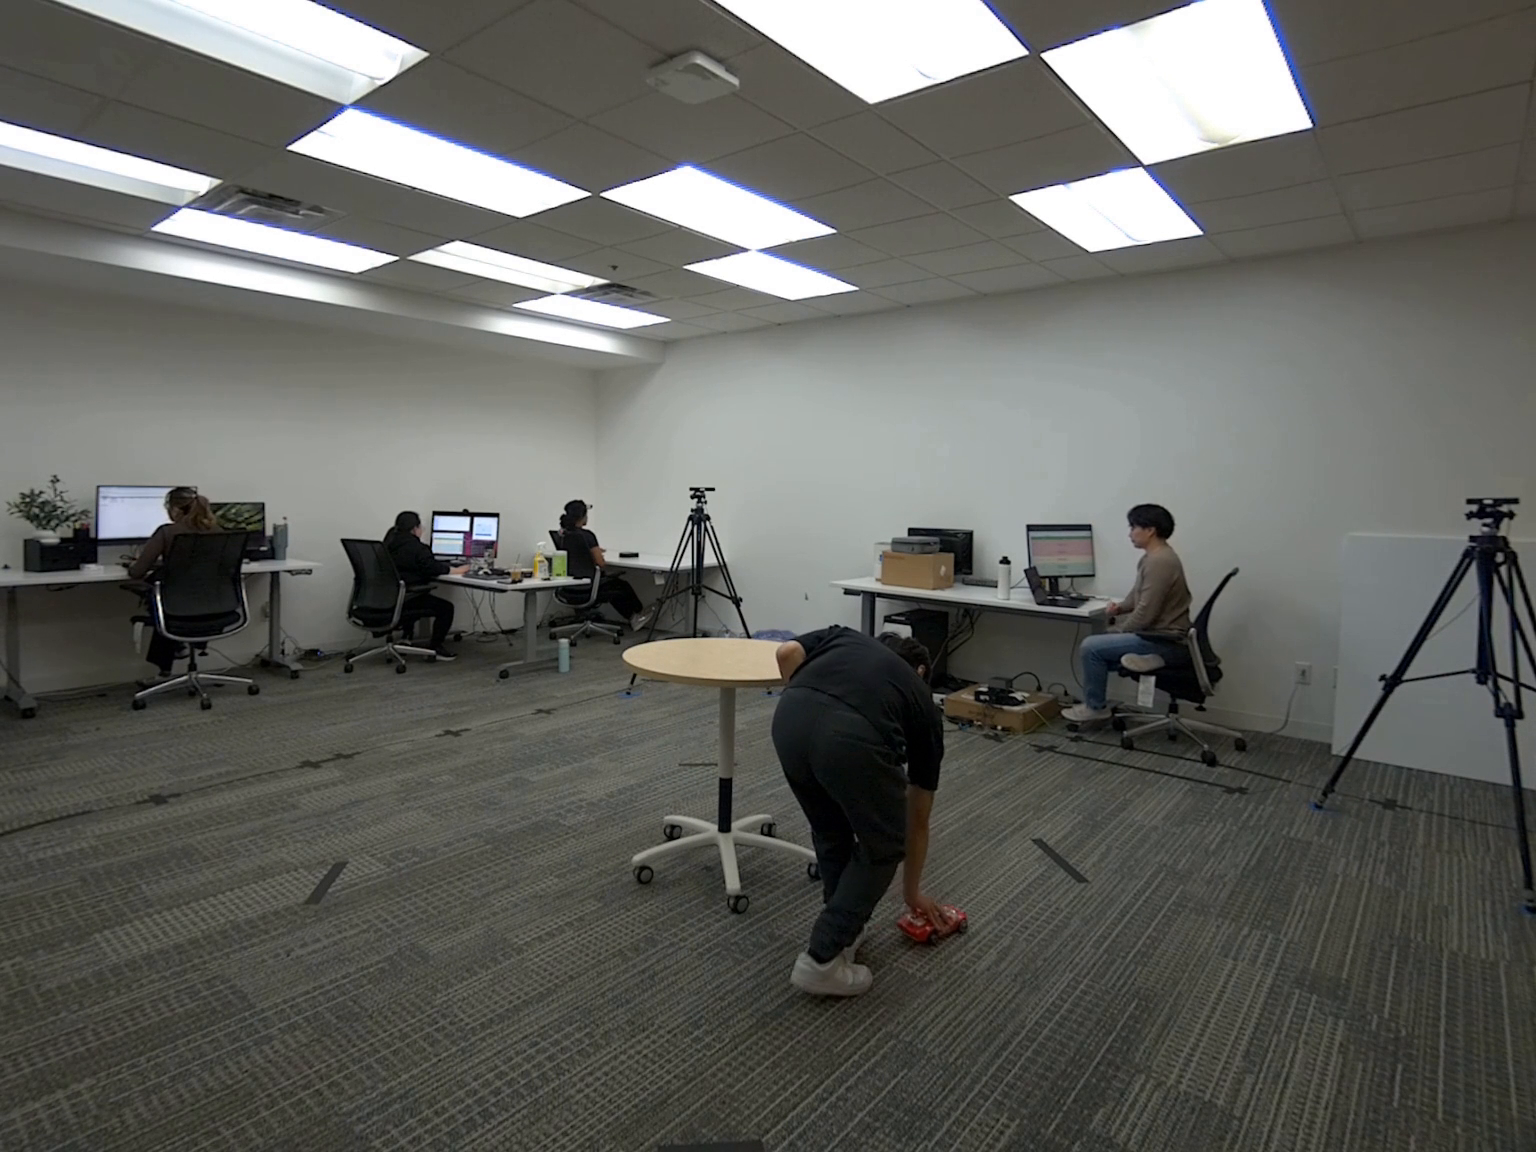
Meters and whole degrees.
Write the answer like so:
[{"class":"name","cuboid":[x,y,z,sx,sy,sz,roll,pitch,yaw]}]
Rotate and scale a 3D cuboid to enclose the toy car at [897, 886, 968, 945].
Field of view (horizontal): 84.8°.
[{"class":"toy car","cuboid":[0.504,1.095,2.690,0.246,0.083,0.134,10,-1,-34]}]
